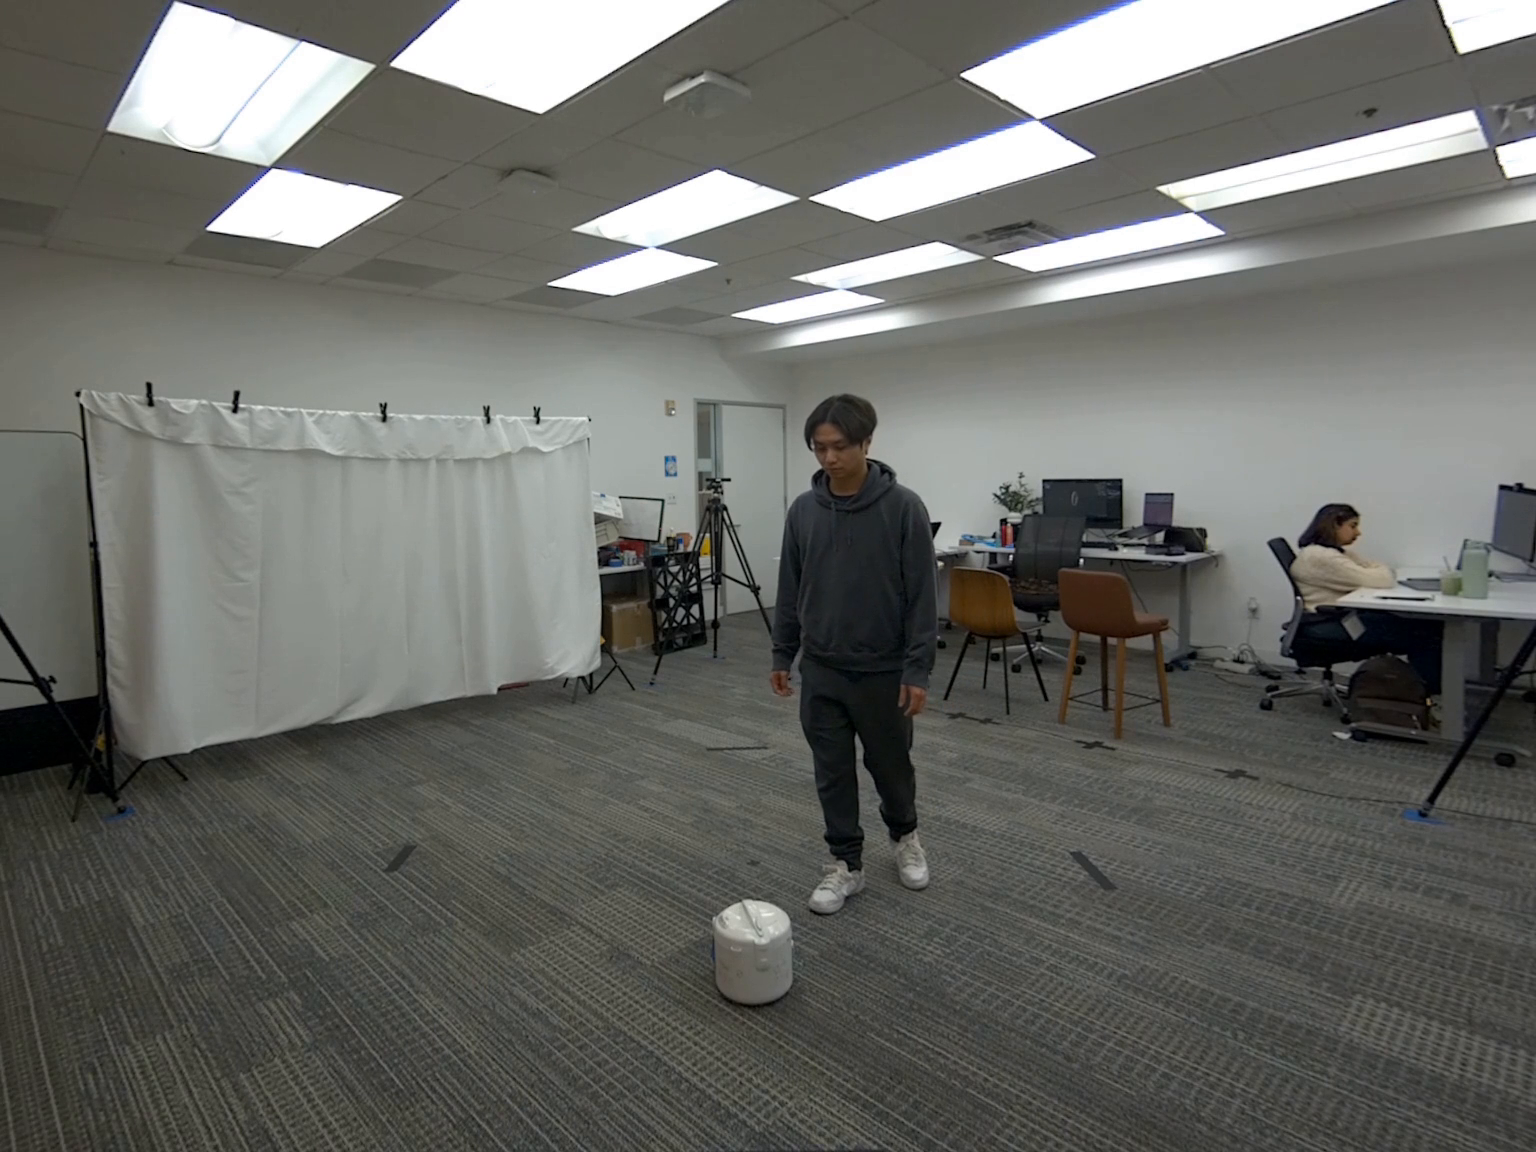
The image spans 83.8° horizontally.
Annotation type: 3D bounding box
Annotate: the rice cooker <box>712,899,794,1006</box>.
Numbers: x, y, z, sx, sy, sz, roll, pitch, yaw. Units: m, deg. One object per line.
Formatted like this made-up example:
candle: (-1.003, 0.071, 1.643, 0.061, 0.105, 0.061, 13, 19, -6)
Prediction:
rice cooker: (-0.030, 1.018, 2.340, 0.215, 0.232, 0.224, -4, 5, -14)
